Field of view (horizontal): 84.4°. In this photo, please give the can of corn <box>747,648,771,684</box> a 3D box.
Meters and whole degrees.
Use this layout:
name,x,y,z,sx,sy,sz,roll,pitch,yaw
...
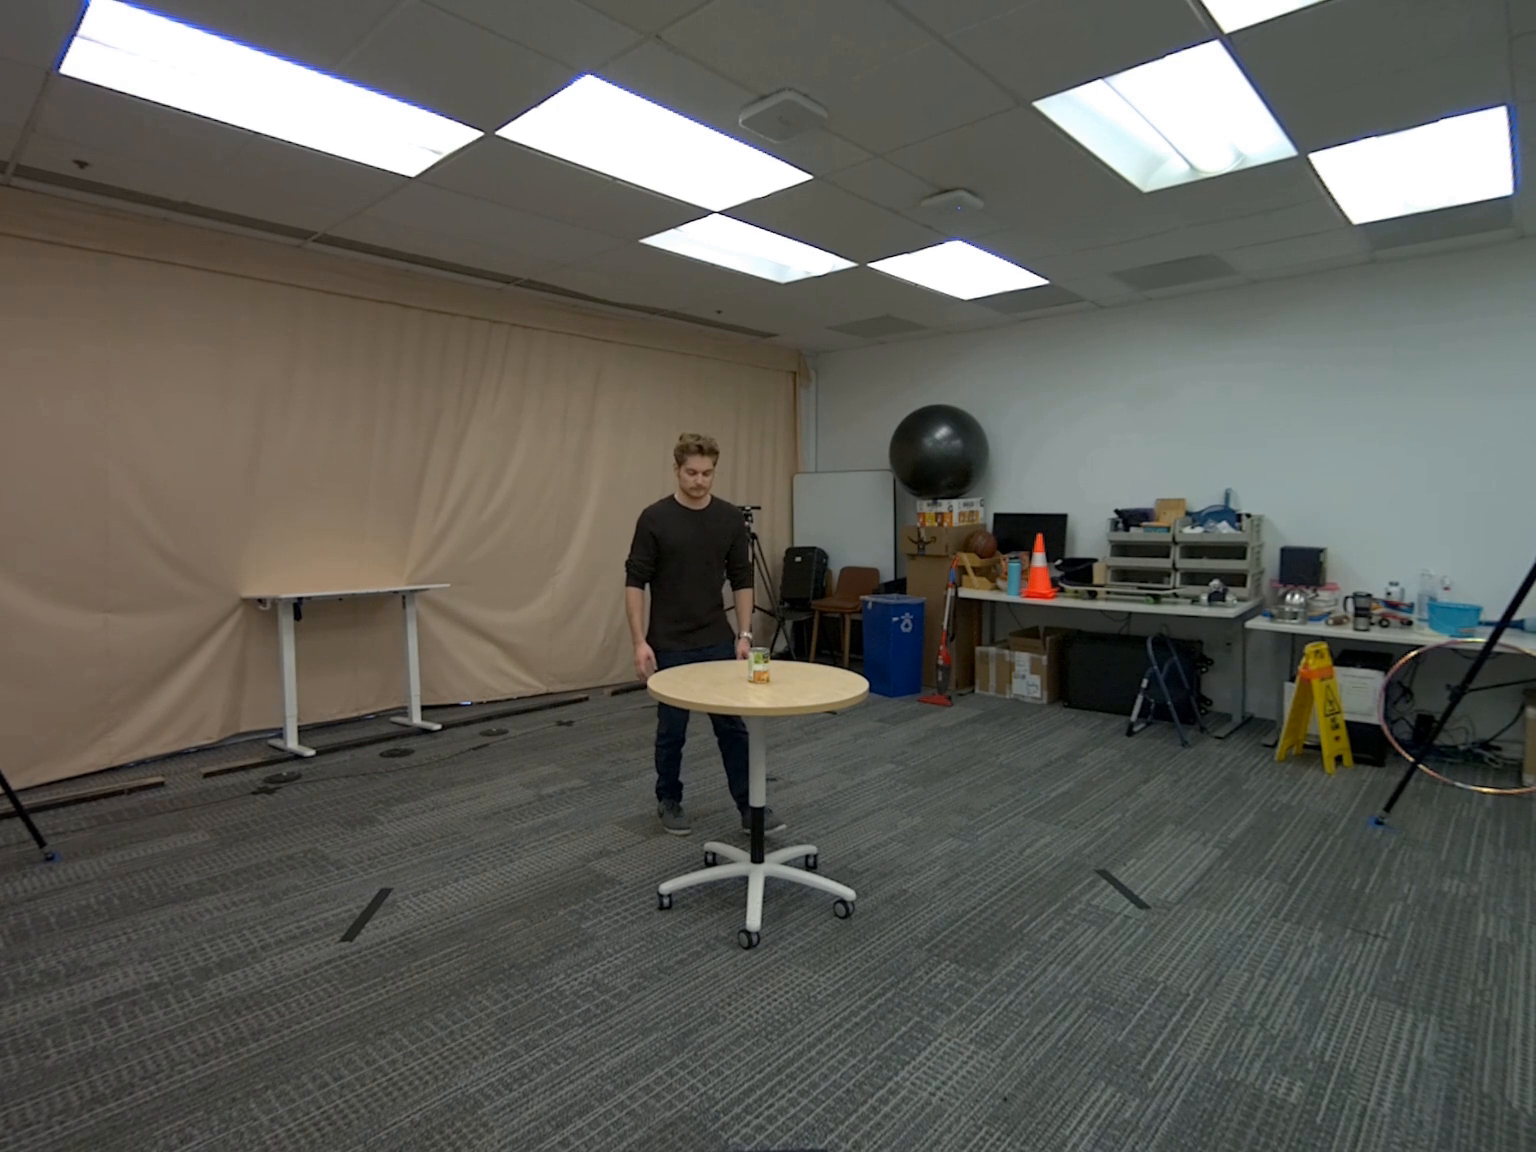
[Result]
name,x,y,z,sx,sy,sz,roll,pitch,yaw
can of corn,-0.029,0.312,2.908,0.074,0.111,0.074,-1,5,-2
